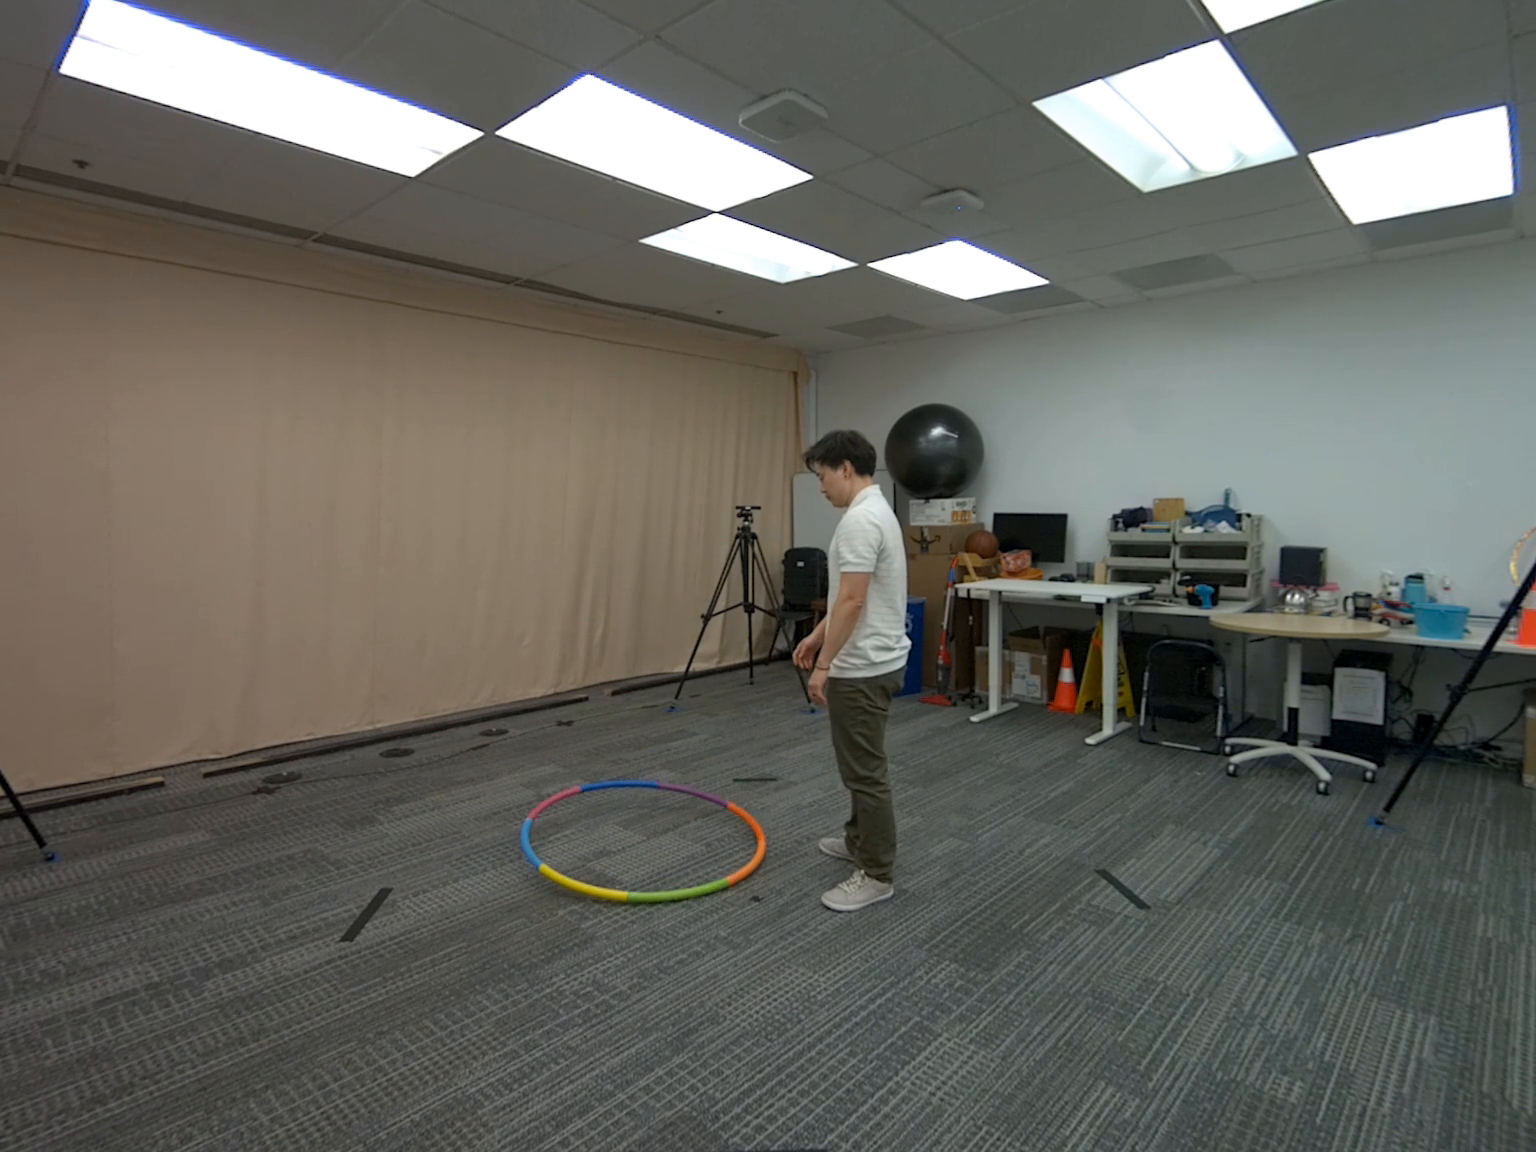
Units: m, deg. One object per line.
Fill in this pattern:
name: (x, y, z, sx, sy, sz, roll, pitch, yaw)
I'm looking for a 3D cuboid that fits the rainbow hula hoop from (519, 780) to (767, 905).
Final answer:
rainbow hula hoop: (-0.498, 1.039, 3.412, 0.977, 0.035, 0.985, 3, 8, -2)
